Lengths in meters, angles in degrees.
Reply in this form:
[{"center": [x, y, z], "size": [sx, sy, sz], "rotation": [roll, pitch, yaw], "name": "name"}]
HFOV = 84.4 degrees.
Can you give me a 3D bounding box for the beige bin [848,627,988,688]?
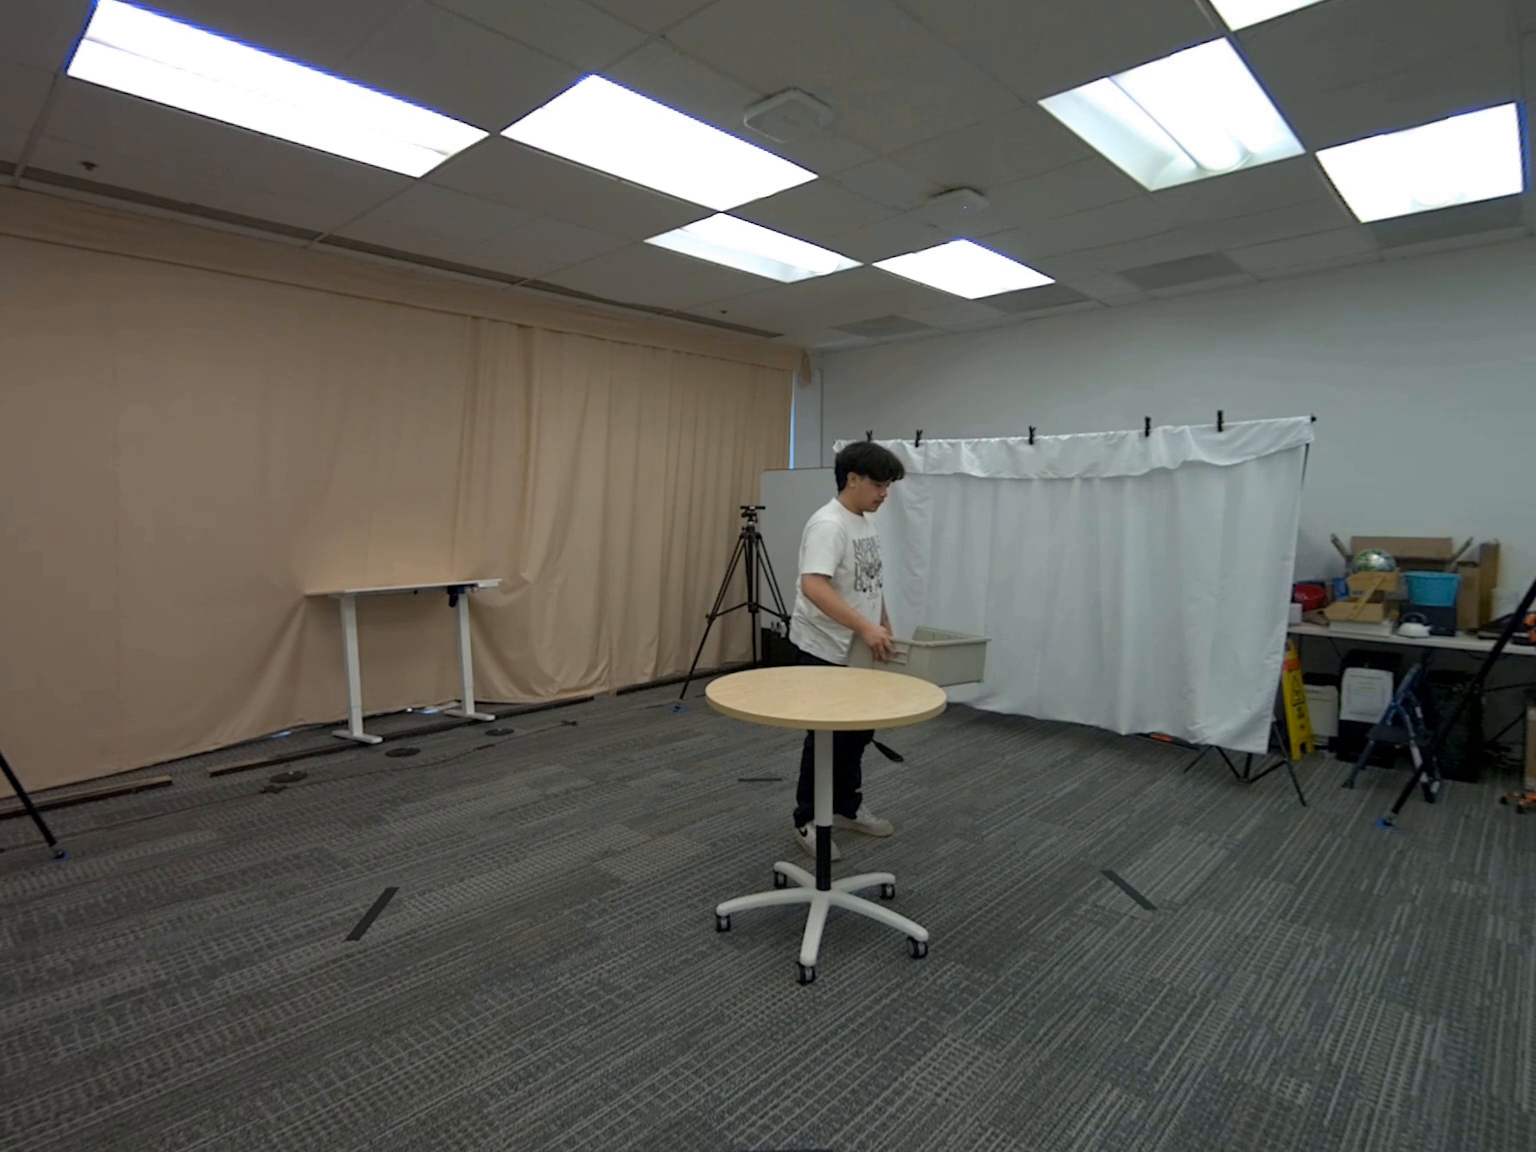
[{"center": [0.590, 0.313, 3.277], "size": [0.409, 0.188, 0.390], "rotation": [0, 5, -43], "name": "beige bin"}]
